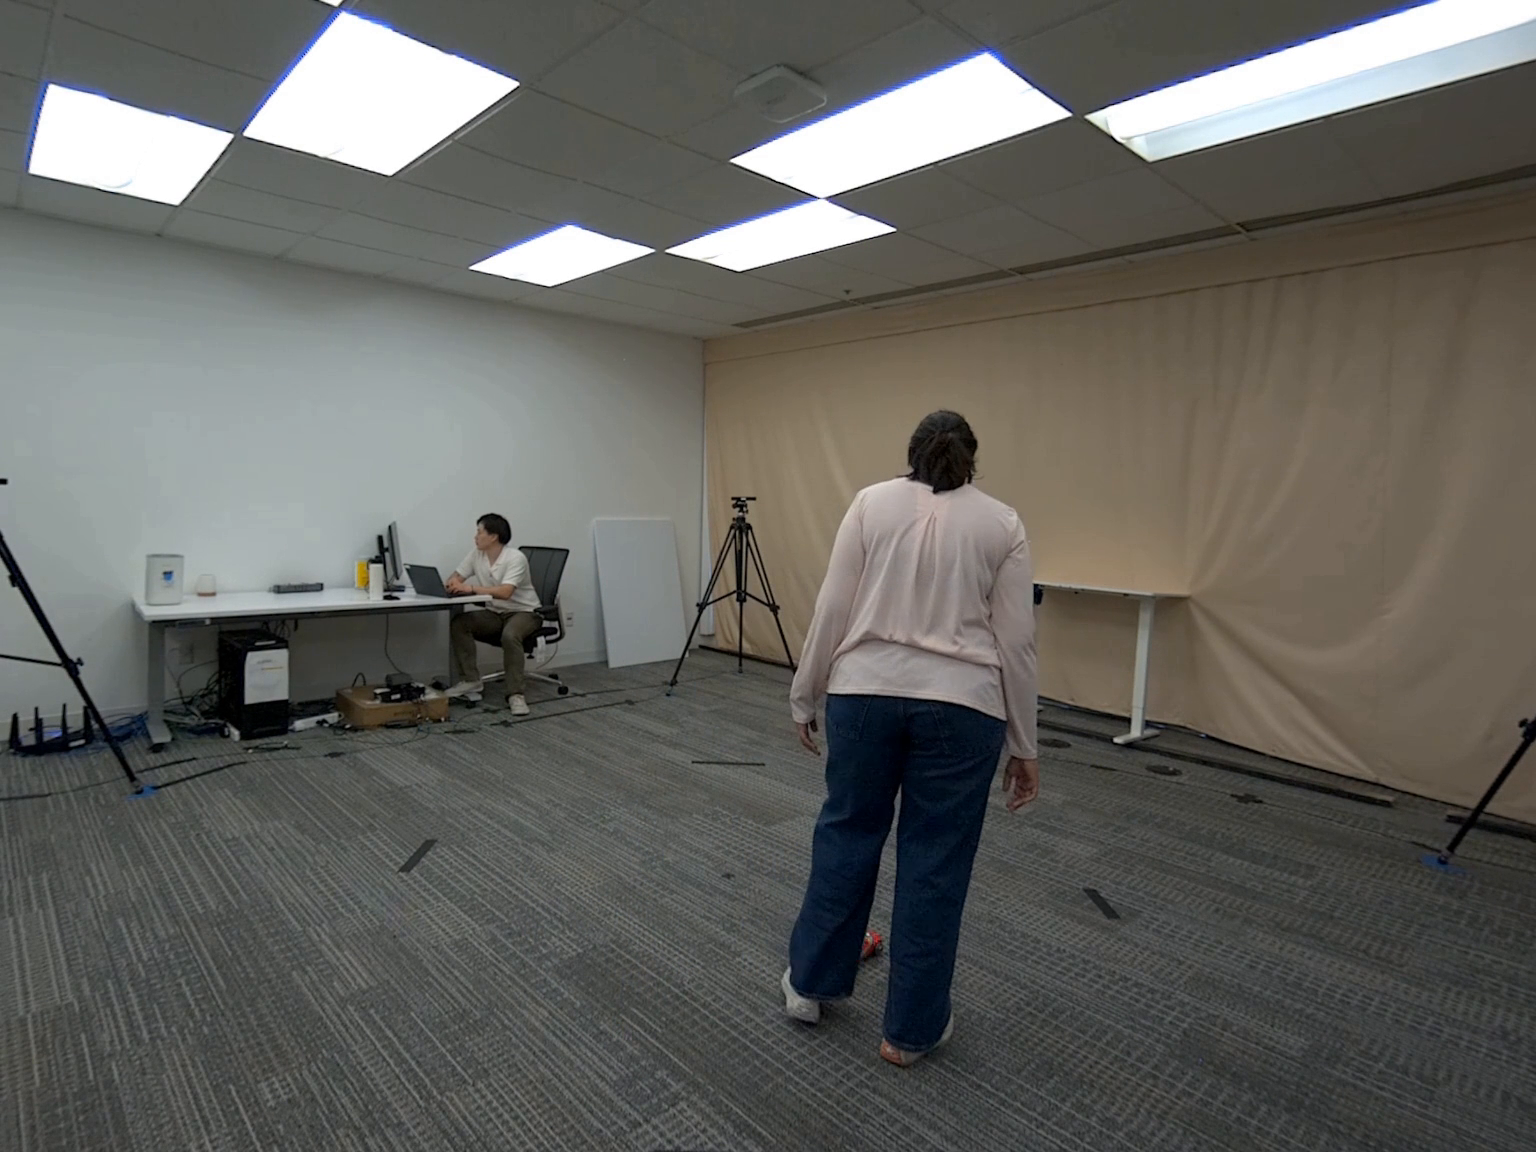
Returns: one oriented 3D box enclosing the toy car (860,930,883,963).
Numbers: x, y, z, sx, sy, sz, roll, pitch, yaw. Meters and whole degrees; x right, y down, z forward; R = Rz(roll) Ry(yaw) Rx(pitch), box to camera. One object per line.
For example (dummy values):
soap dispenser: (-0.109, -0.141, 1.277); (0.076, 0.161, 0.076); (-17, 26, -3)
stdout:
toy car: (0.238, 1.140, 2.548); (0.134, 0.083, 0.247); (6, -4, 43)
